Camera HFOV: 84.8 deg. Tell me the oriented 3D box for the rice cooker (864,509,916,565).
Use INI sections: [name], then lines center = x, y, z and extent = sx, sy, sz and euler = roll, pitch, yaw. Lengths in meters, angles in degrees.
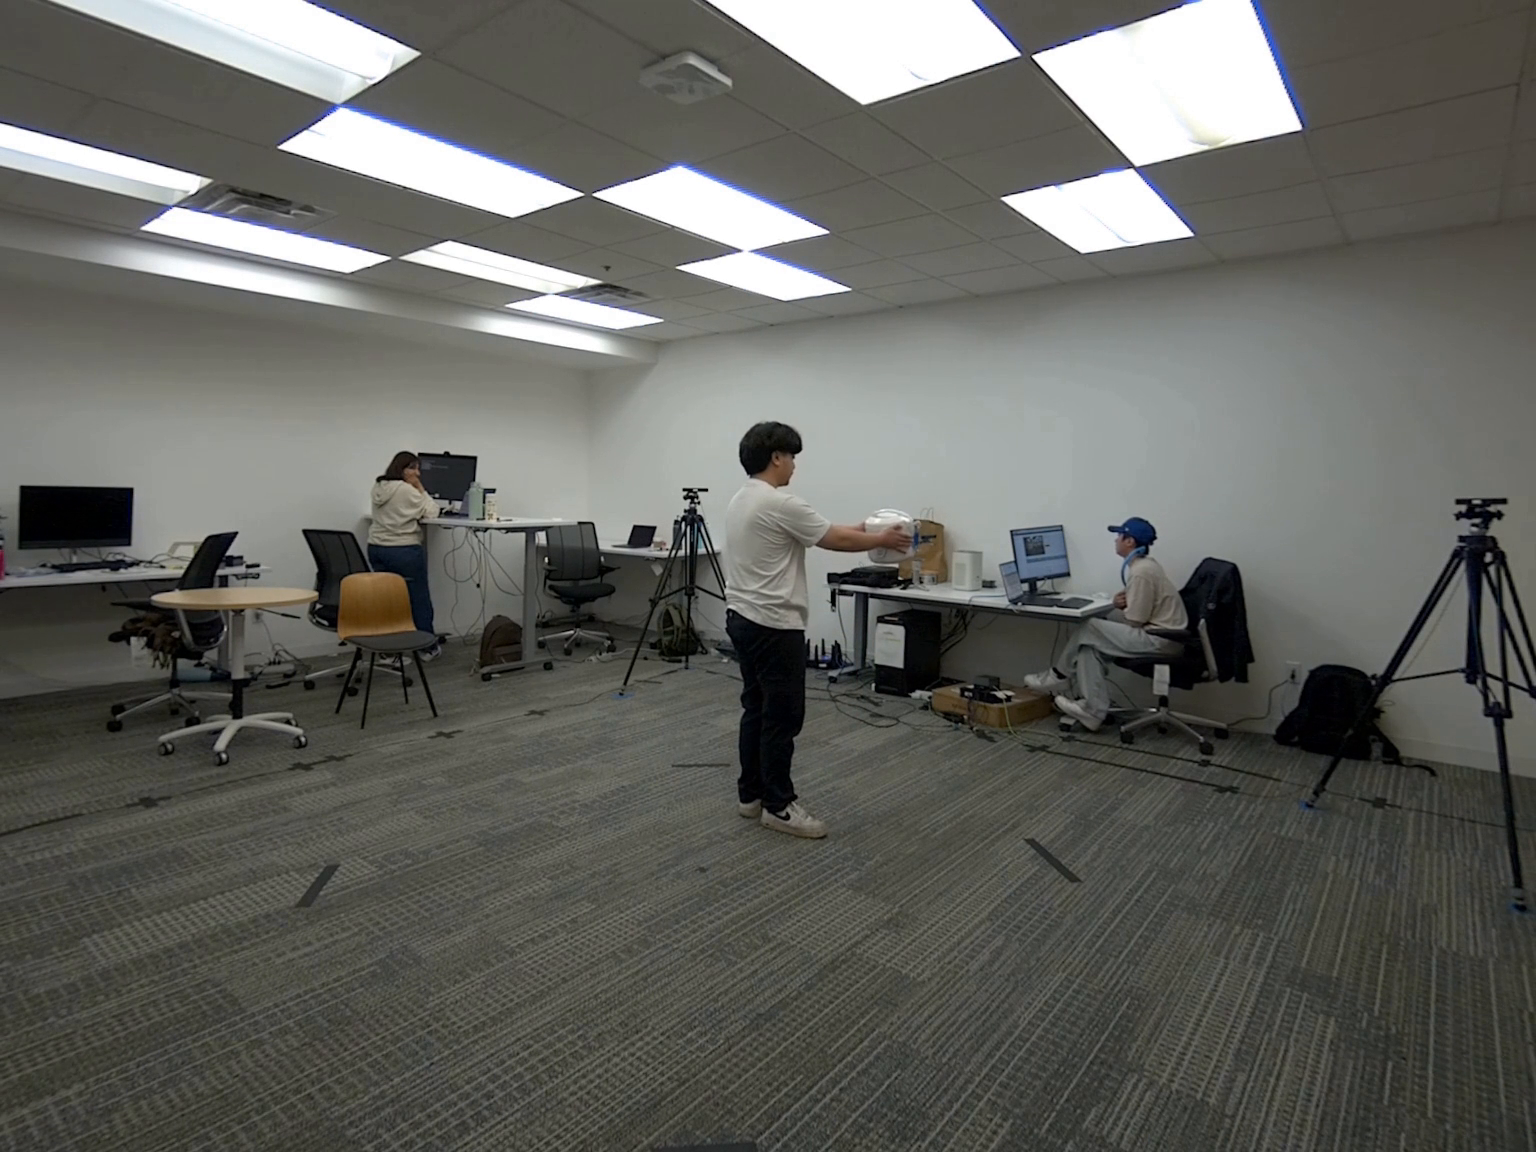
[rice cooker]
center = 0.529, -0.181, 3.784
extent = 0.227, 0.230, 0.214
euler = 2, 15, 32
